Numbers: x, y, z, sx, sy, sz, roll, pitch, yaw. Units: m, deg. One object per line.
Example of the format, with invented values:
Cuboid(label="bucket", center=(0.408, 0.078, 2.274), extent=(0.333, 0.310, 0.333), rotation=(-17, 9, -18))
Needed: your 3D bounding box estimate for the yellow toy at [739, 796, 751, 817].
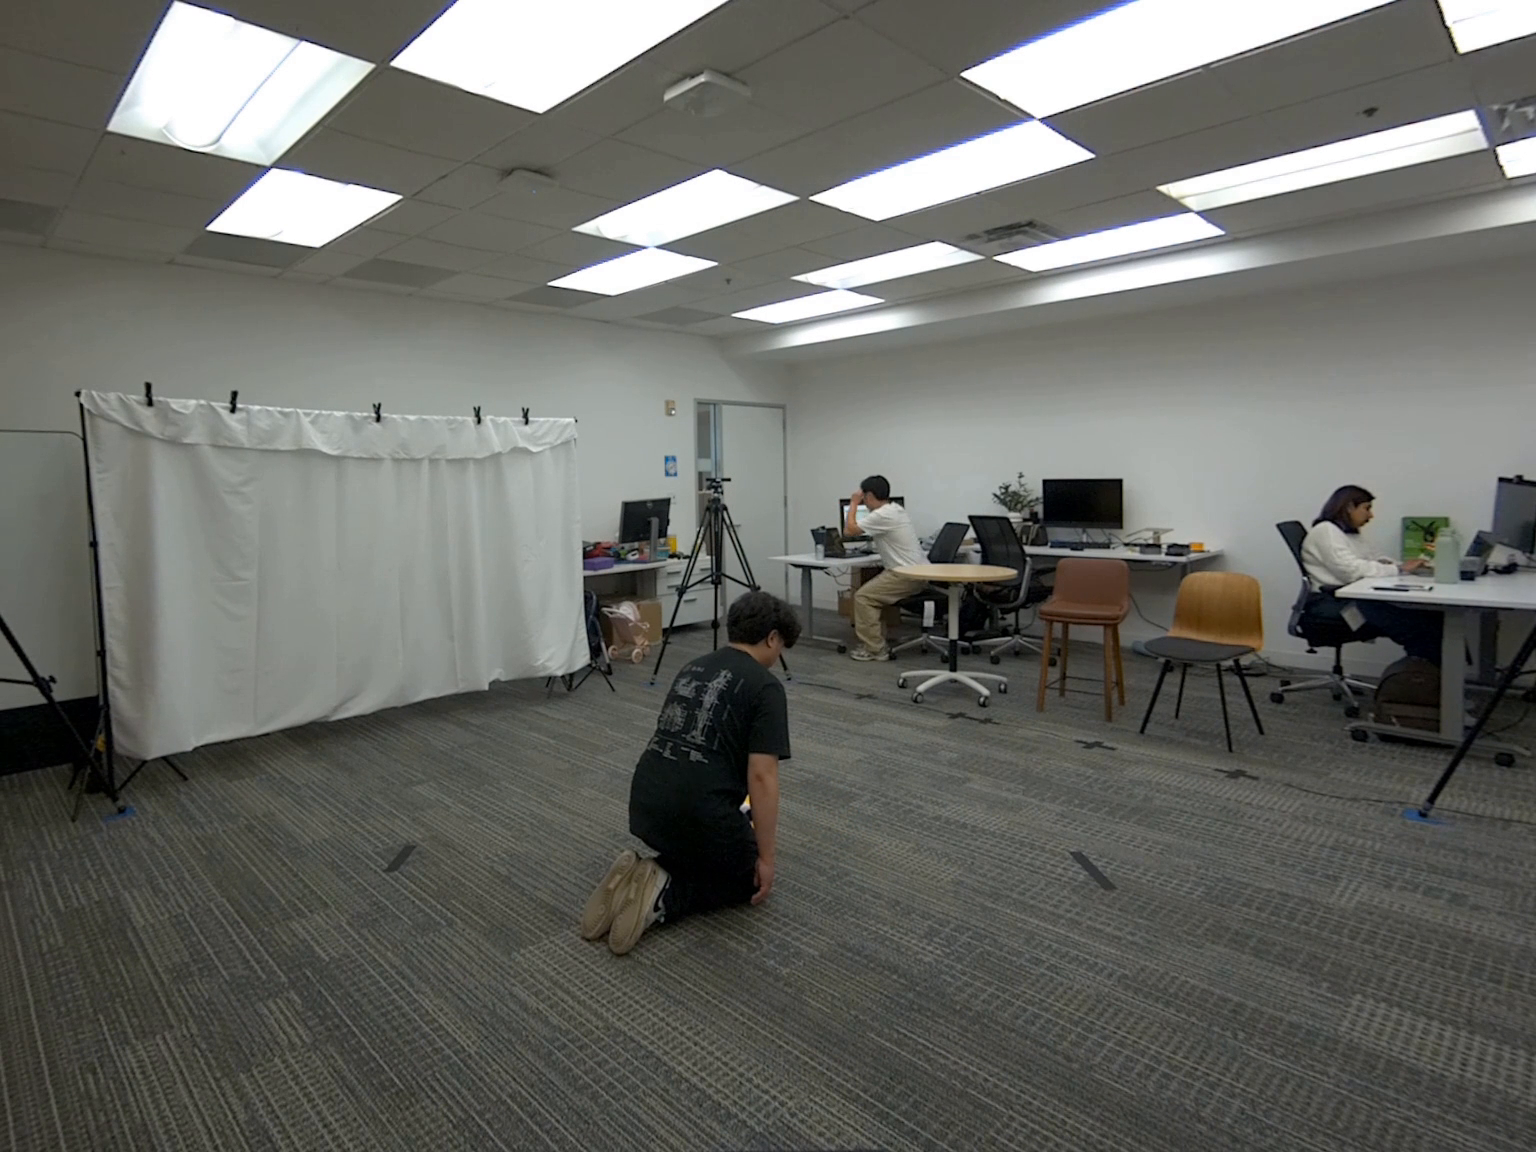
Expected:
Cuboid(label="yellow toy", center=(-0.082, 0.911, 3.277), extent=(0.192, 0.230, 0.207), rotation=(-1, 5, -6))
